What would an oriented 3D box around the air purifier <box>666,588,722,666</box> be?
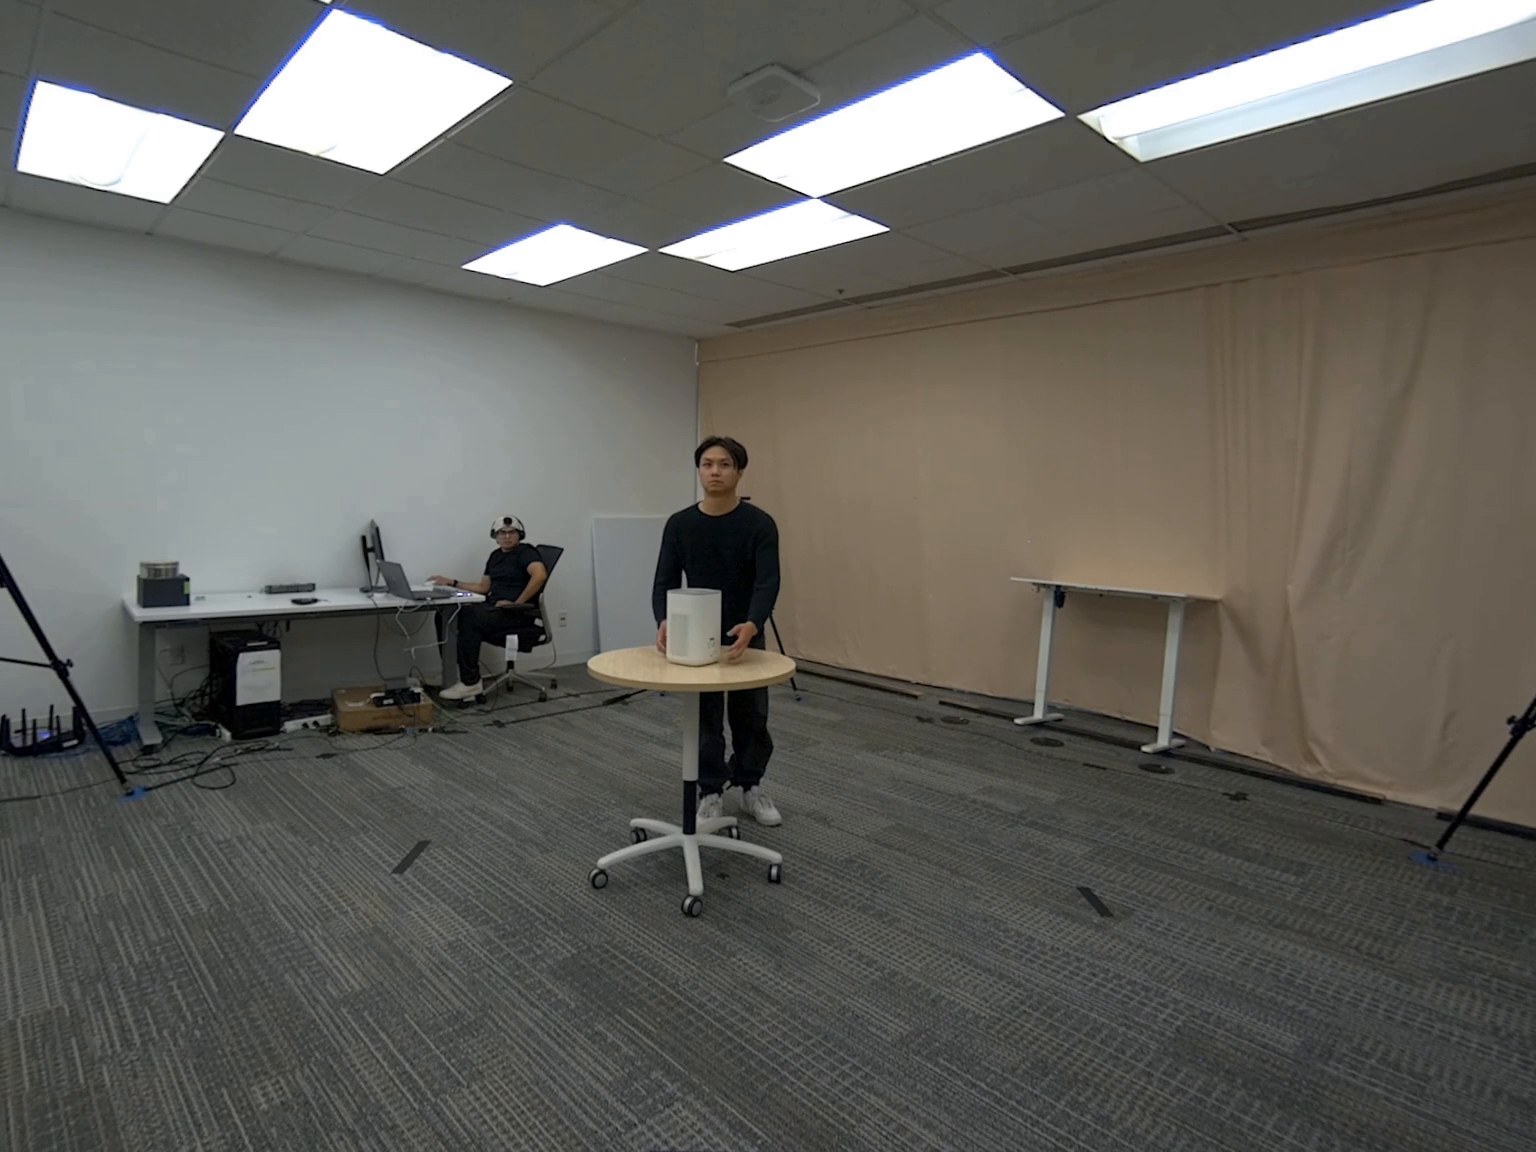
[{"bbox_3d":[-0.292,0.185,3.096,0.175,0.265,0.167,5,4,32],"label":"air purifier"}]
